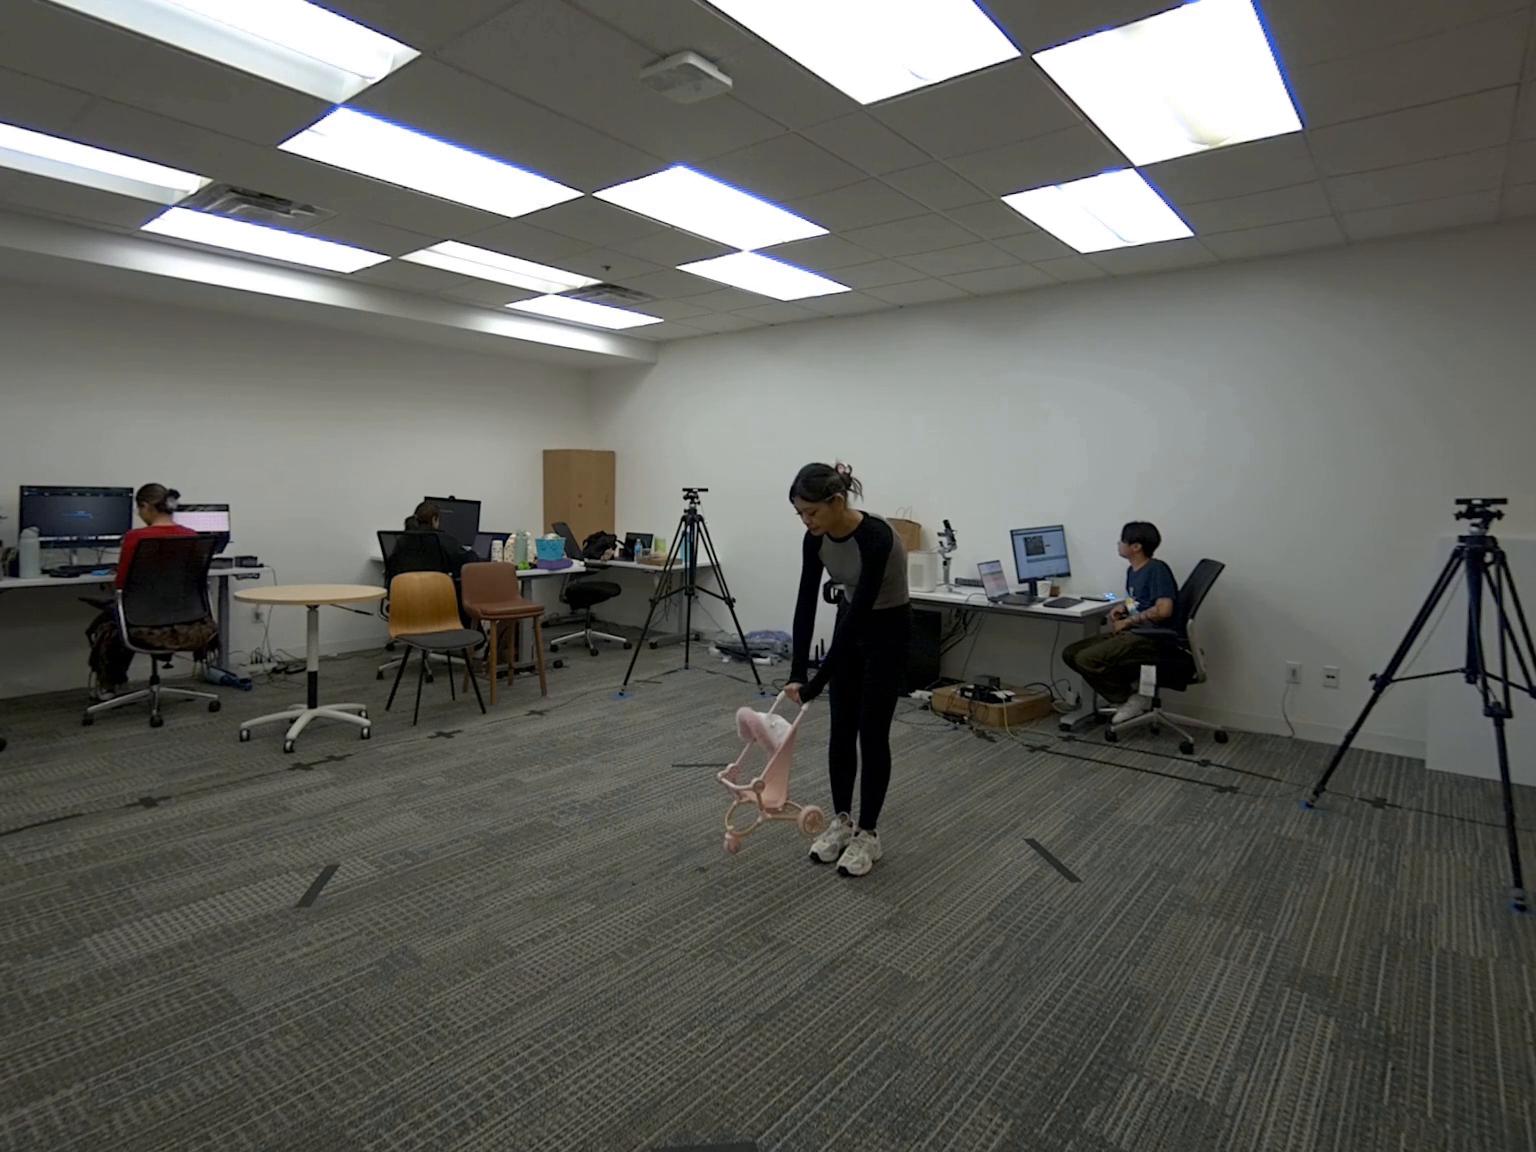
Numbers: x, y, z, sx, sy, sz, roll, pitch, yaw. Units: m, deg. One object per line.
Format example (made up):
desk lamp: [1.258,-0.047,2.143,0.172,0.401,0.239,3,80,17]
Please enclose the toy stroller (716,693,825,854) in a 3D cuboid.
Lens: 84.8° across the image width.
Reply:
toy stroller: [-0.027,0.685,2.974,0.334,0.533,0.288,-3,4,-23]
